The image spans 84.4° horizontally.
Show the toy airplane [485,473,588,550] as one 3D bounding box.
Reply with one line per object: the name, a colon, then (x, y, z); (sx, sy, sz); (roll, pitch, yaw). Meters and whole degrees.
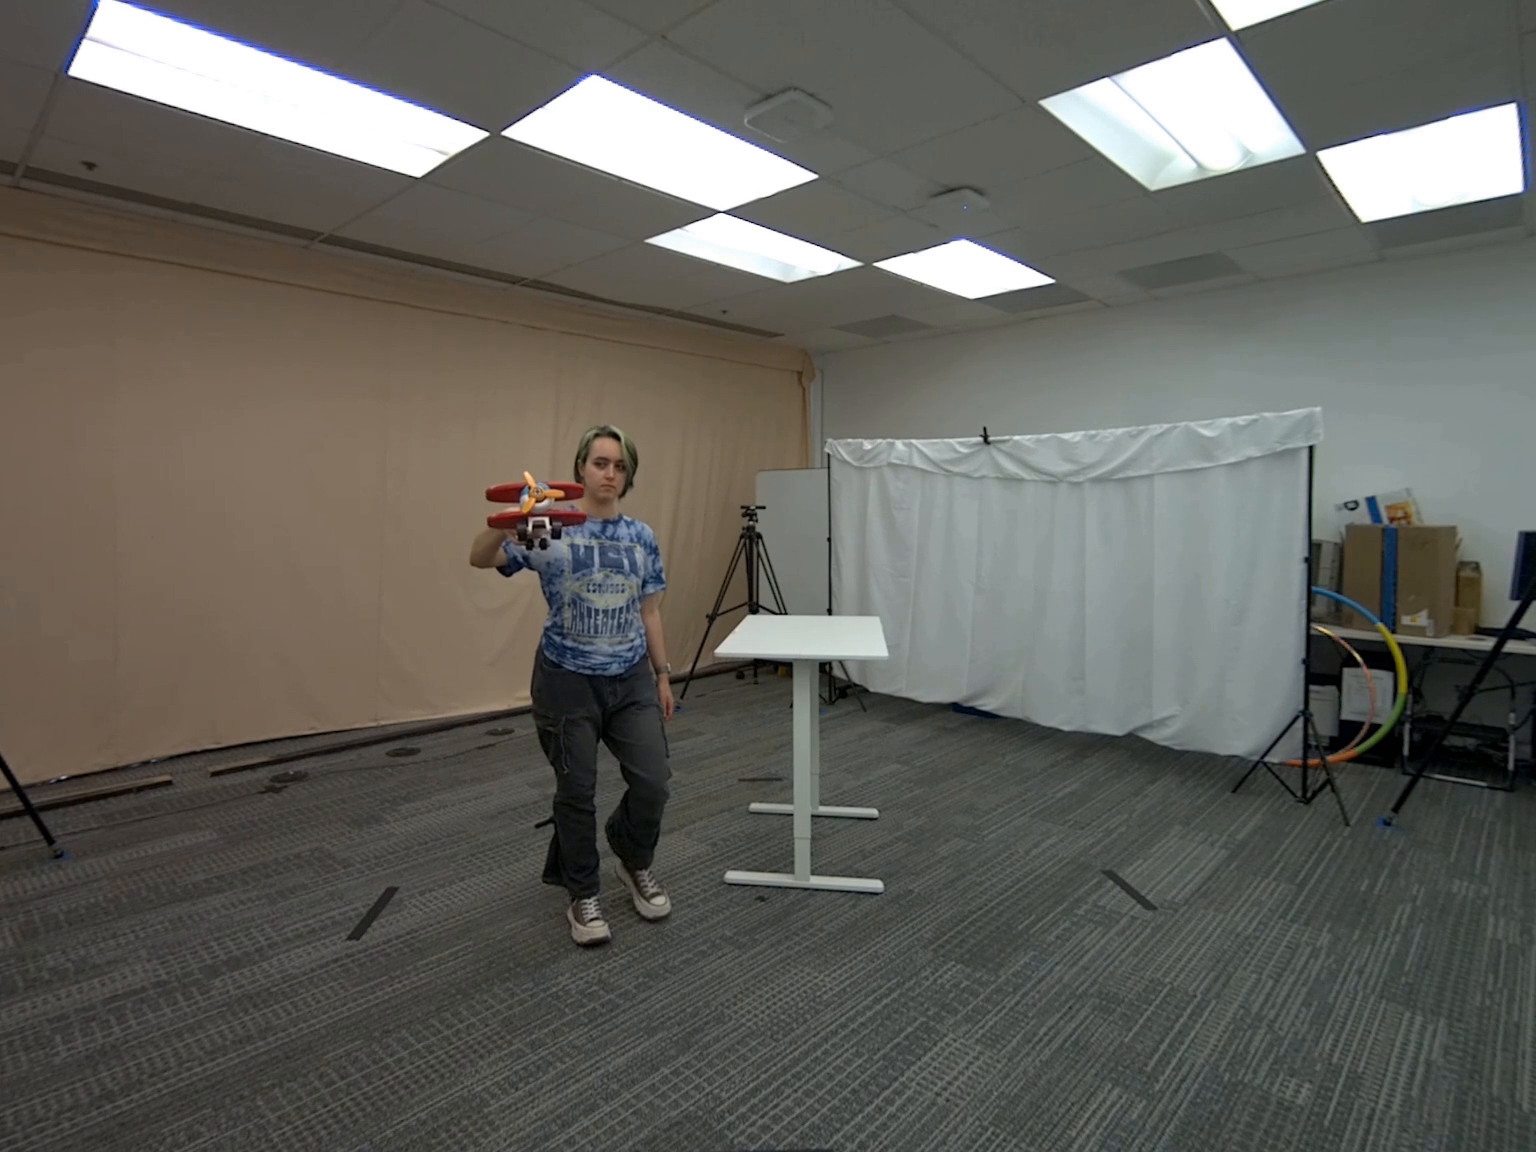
toy airplane: (-0.627, -0.154, 2.227); (0.243, 0.157, 0.266); (3, -9, -43)
